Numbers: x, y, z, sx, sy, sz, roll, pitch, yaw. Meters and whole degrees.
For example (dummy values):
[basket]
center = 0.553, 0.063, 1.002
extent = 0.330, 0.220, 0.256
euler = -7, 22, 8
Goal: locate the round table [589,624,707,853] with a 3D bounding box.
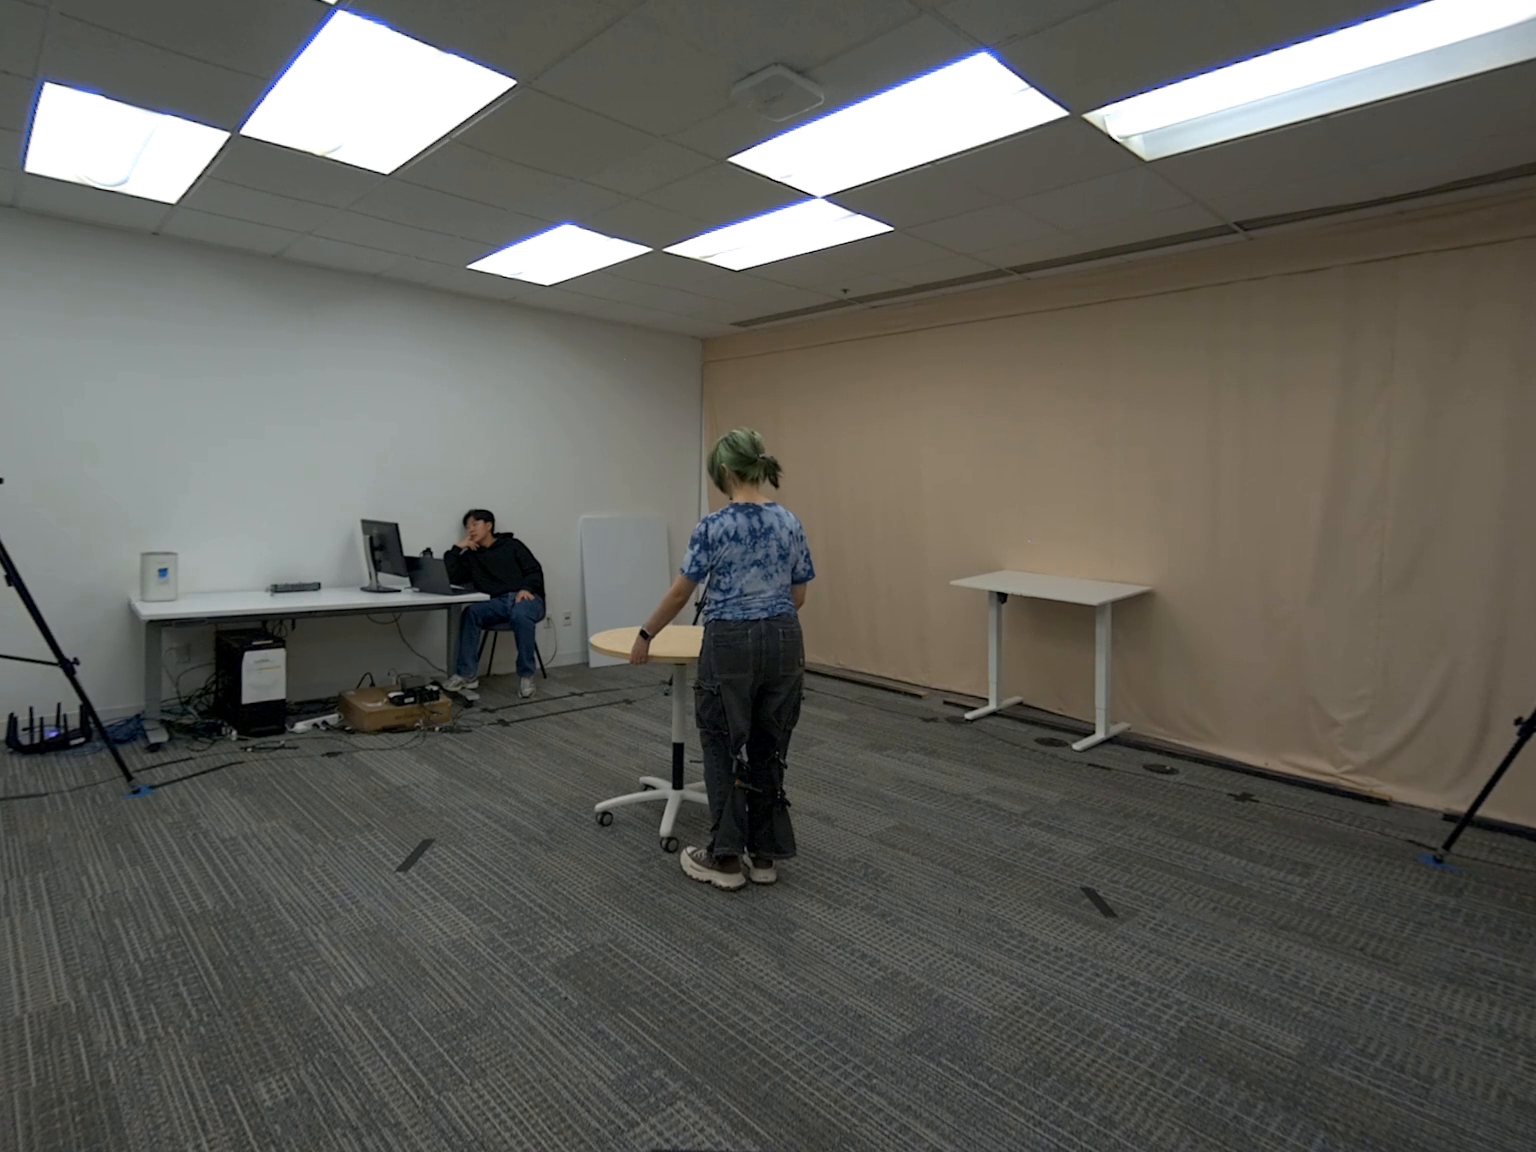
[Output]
[round table]
center = -0.390, 0.663, 3.598
extent = 0.763, 0.792, 0.766
euler = 1, 4, -1
